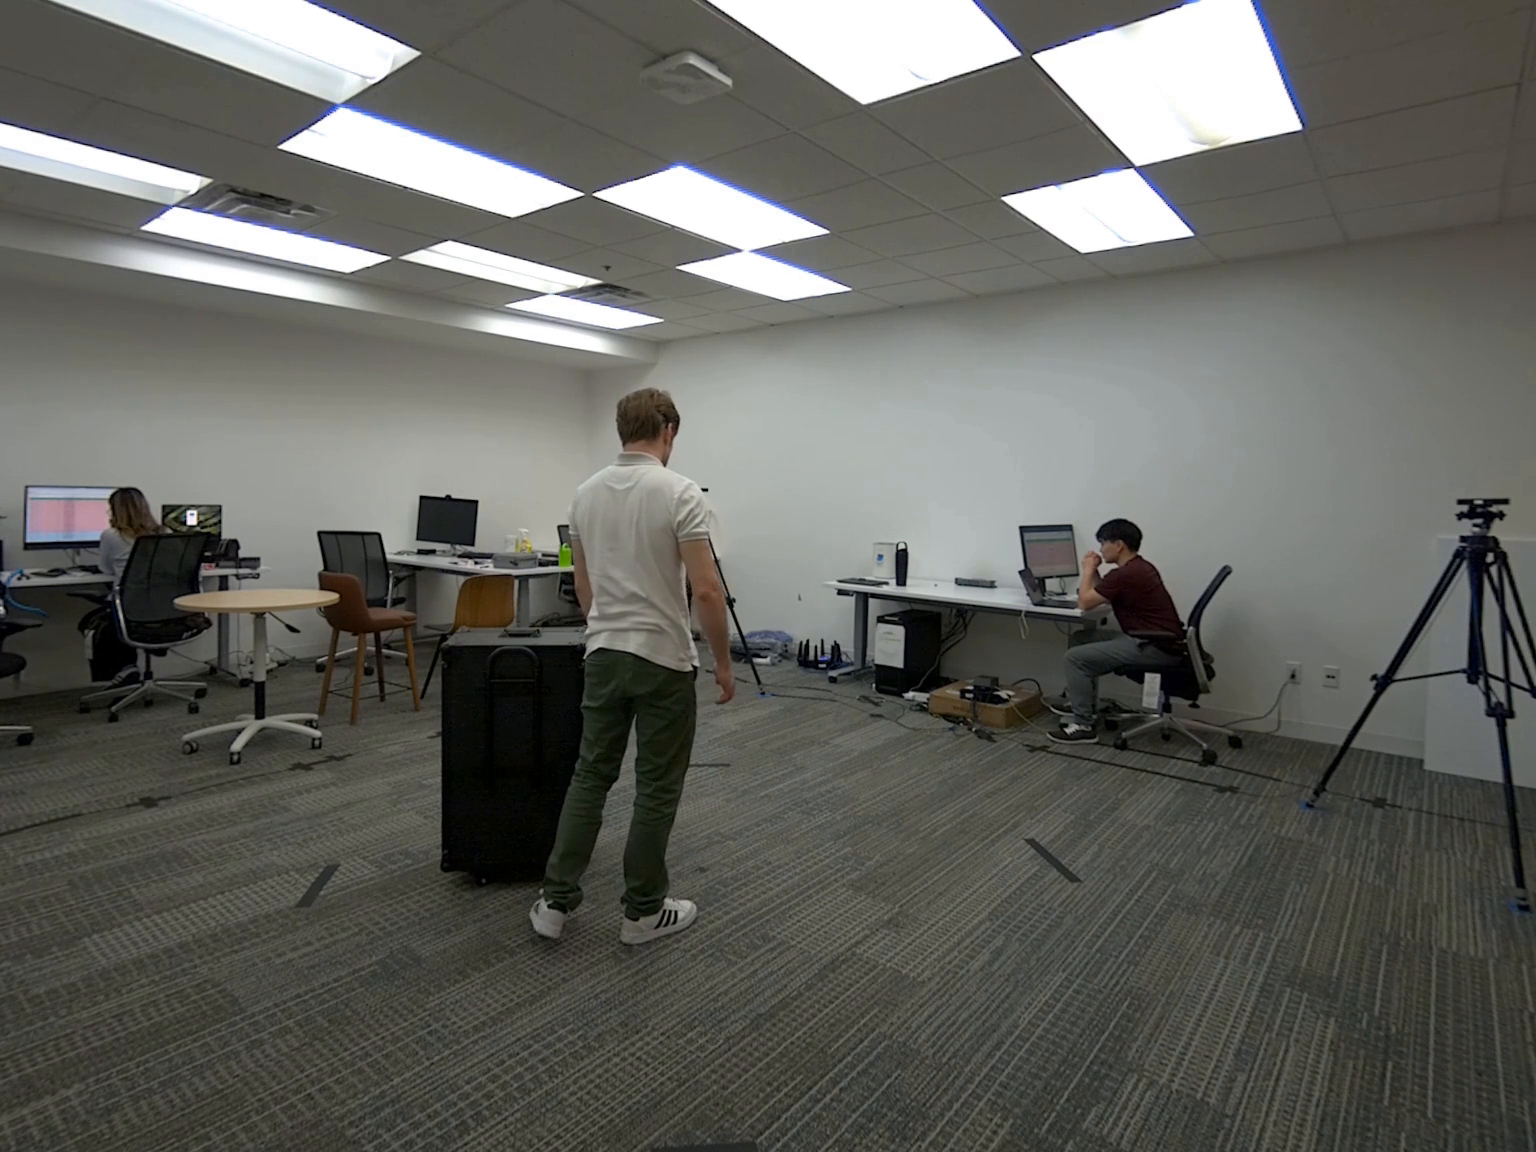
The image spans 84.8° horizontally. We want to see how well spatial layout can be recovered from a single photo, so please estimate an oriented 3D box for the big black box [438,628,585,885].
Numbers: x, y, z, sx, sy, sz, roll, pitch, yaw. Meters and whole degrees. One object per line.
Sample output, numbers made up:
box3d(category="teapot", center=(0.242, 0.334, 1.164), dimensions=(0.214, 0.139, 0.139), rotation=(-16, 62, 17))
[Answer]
box3d(category="big black box", center=(-0.906, 0.634, 3.062), dimensions=(0.517, 0.858, 0.401), rotation=(1, 4, -8))
